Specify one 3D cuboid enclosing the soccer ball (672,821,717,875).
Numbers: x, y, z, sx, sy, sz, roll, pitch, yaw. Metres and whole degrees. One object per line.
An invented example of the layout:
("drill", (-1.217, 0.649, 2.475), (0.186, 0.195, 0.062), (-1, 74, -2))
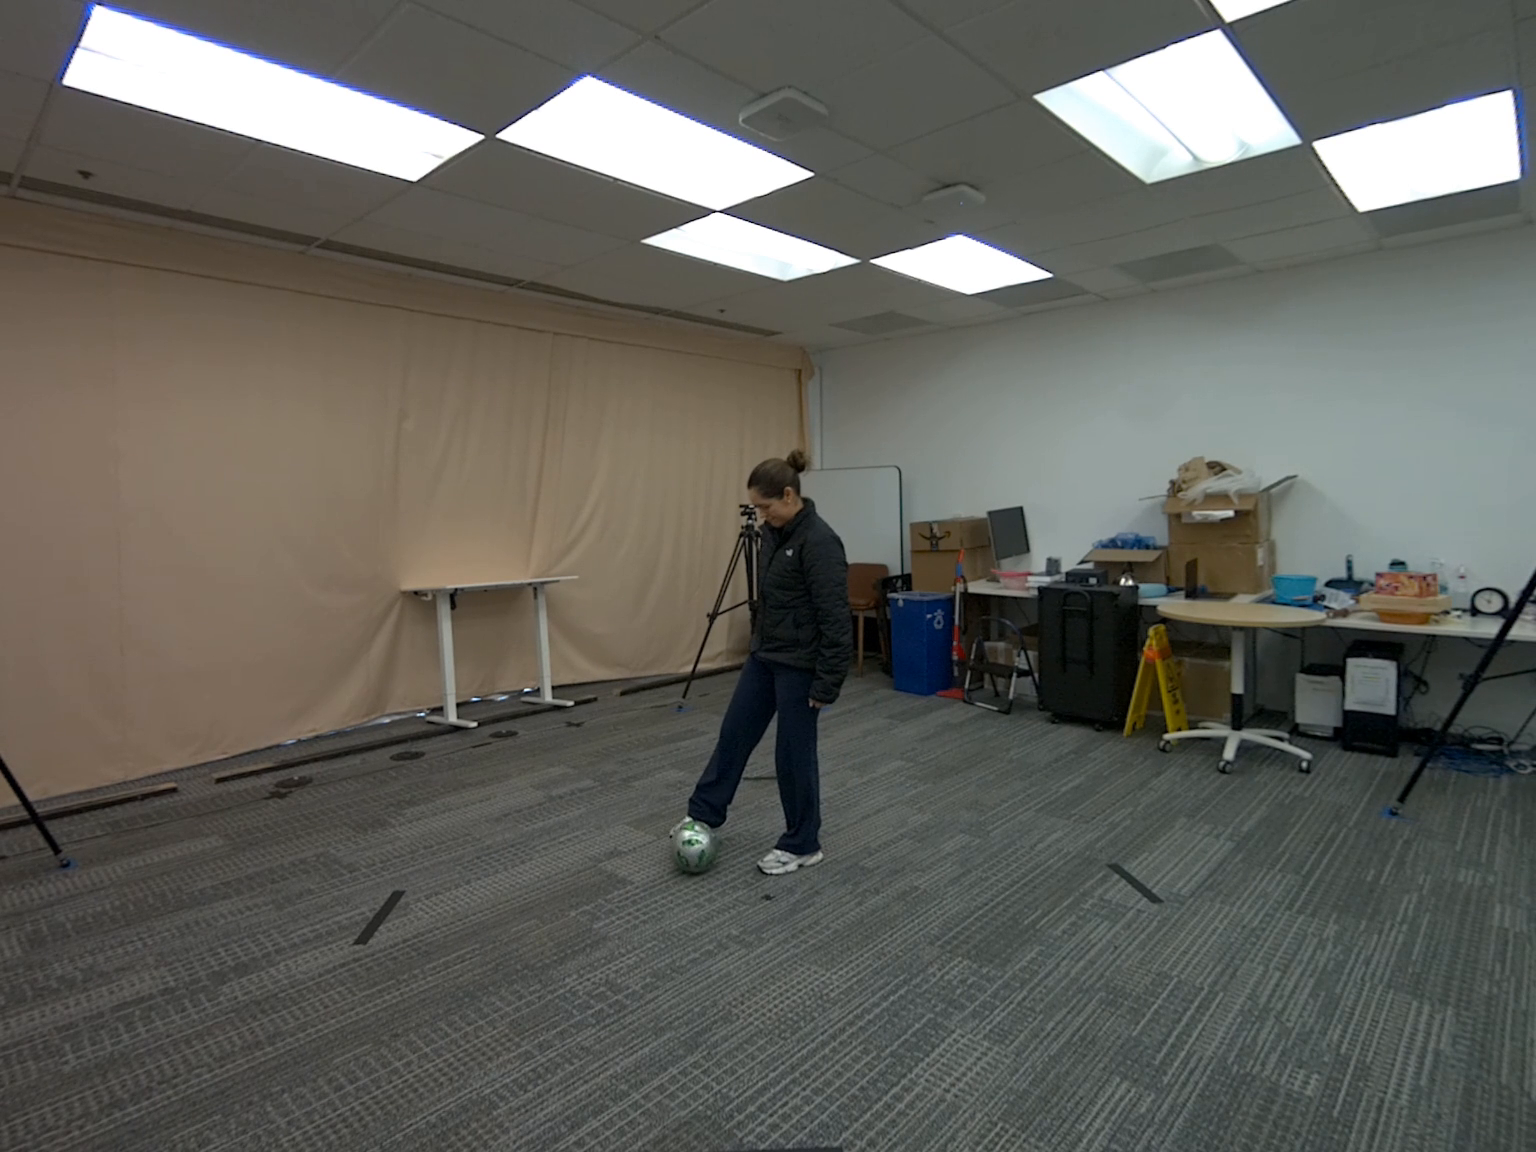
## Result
("soccer ball", (-0.286, 1.030, 3.226), (0.187, 0.187, 0.188), (-1, 4, -2))
